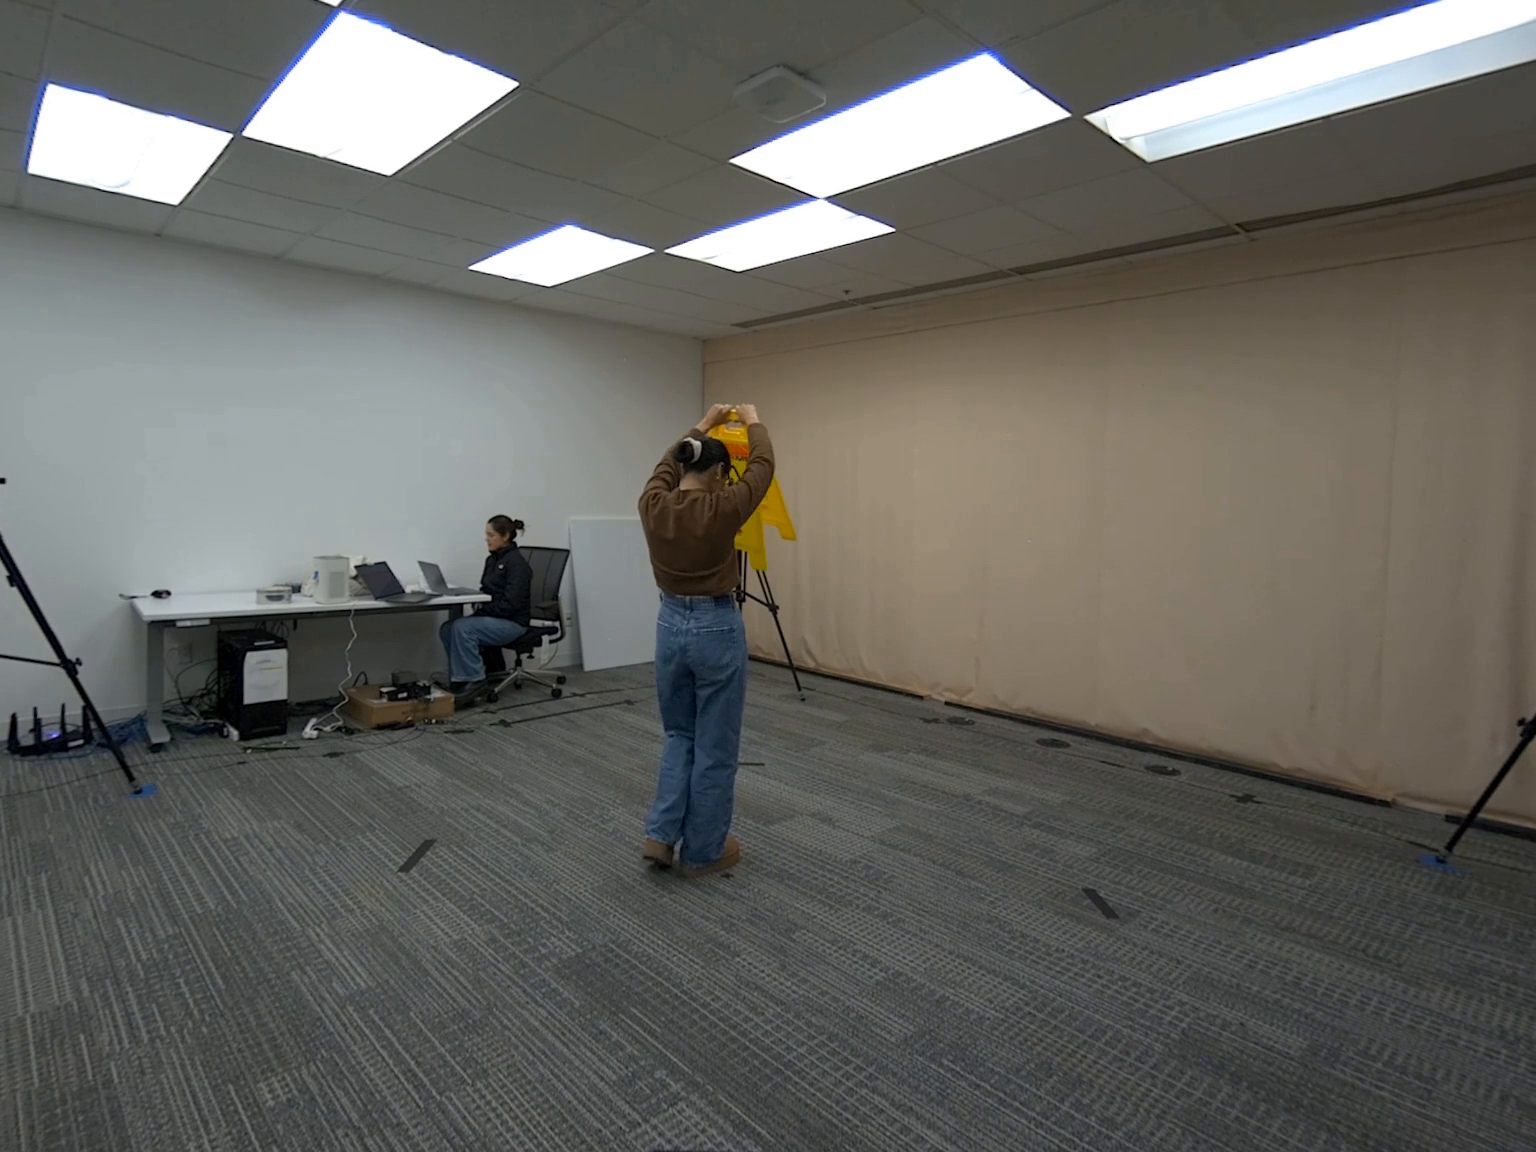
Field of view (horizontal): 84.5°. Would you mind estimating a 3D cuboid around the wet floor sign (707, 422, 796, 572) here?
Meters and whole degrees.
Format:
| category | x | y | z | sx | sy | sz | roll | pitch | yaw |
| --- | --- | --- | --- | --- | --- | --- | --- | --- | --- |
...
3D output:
| category | x | y | z | sx | sy | sz | roll | pitch | yaw |
| --- | --- | --- | --- | --- | --- | --- | --- | --- | --- |
| wet floor sign | -0.105 | -0.384 | 3.508 | 0.289 | 0.633 | 0.288 | 12 | 33 | 31 |
